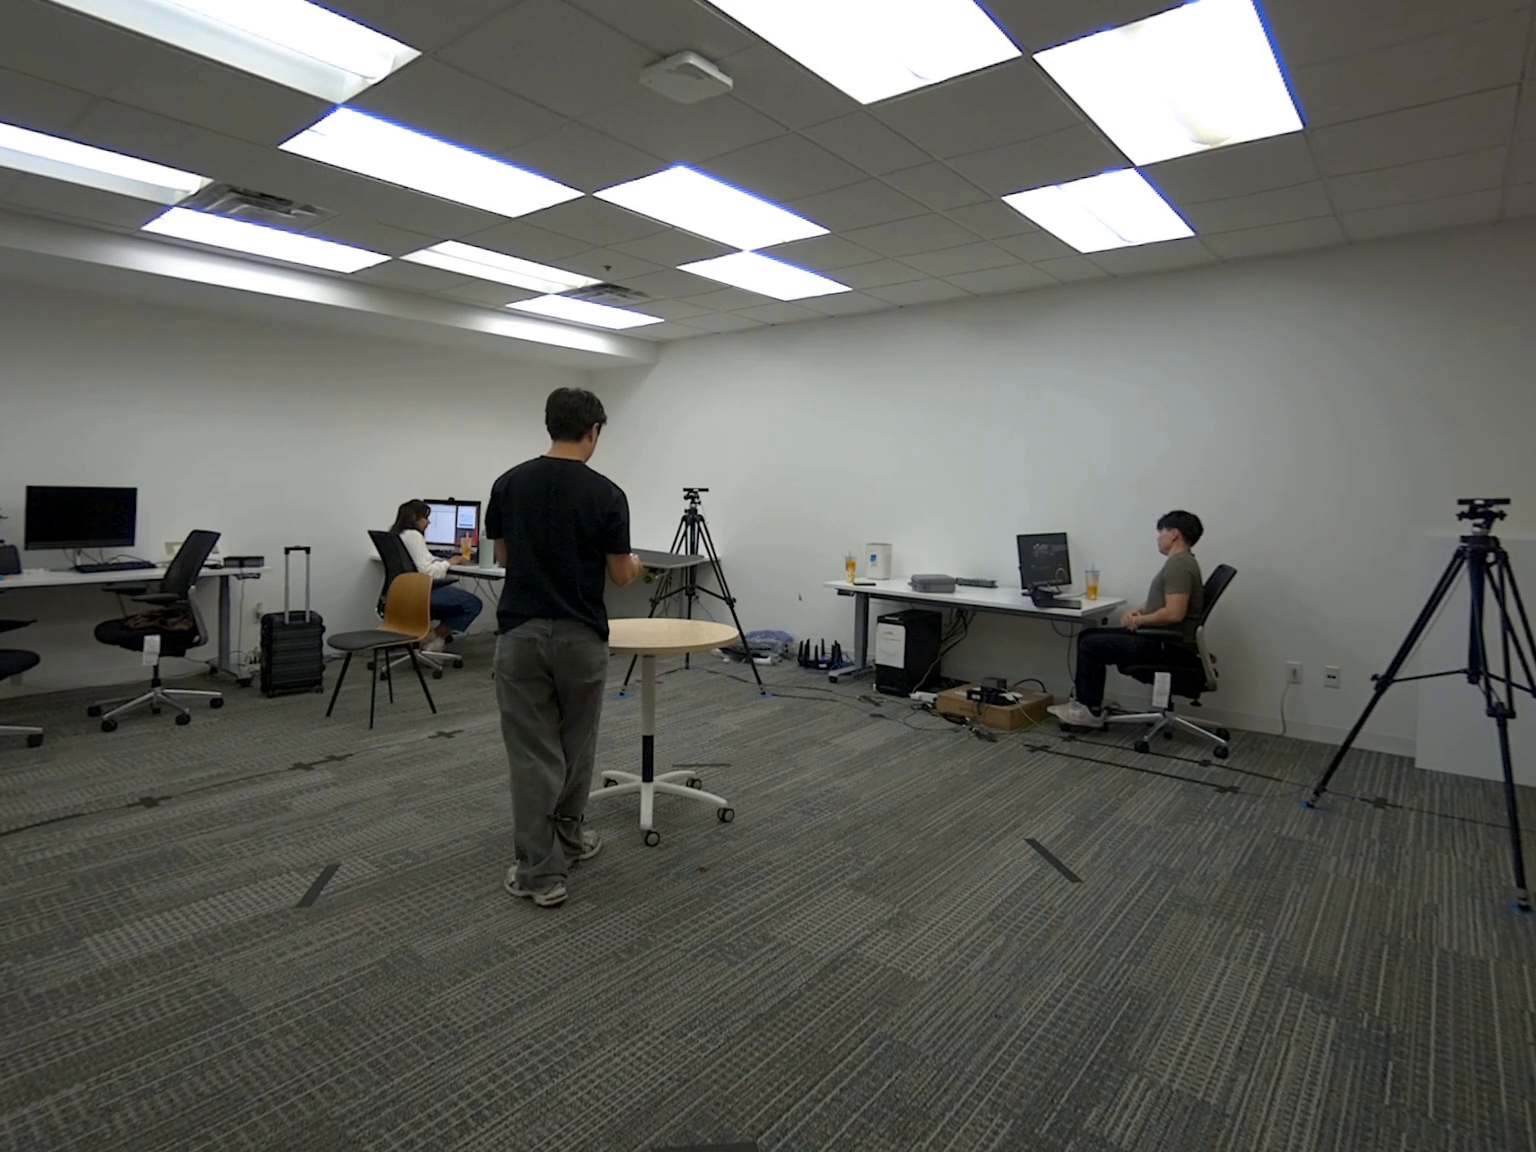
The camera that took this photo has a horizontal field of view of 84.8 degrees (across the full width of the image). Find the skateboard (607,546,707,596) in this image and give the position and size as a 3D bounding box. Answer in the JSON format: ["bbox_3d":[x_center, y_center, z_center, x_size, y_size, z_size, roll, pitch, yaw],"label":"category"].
[{"bbox_3d":[-0.653,-0.058,3.404,0.802,0.109,0.191,8,15,19],"label":"skateboard"}]
